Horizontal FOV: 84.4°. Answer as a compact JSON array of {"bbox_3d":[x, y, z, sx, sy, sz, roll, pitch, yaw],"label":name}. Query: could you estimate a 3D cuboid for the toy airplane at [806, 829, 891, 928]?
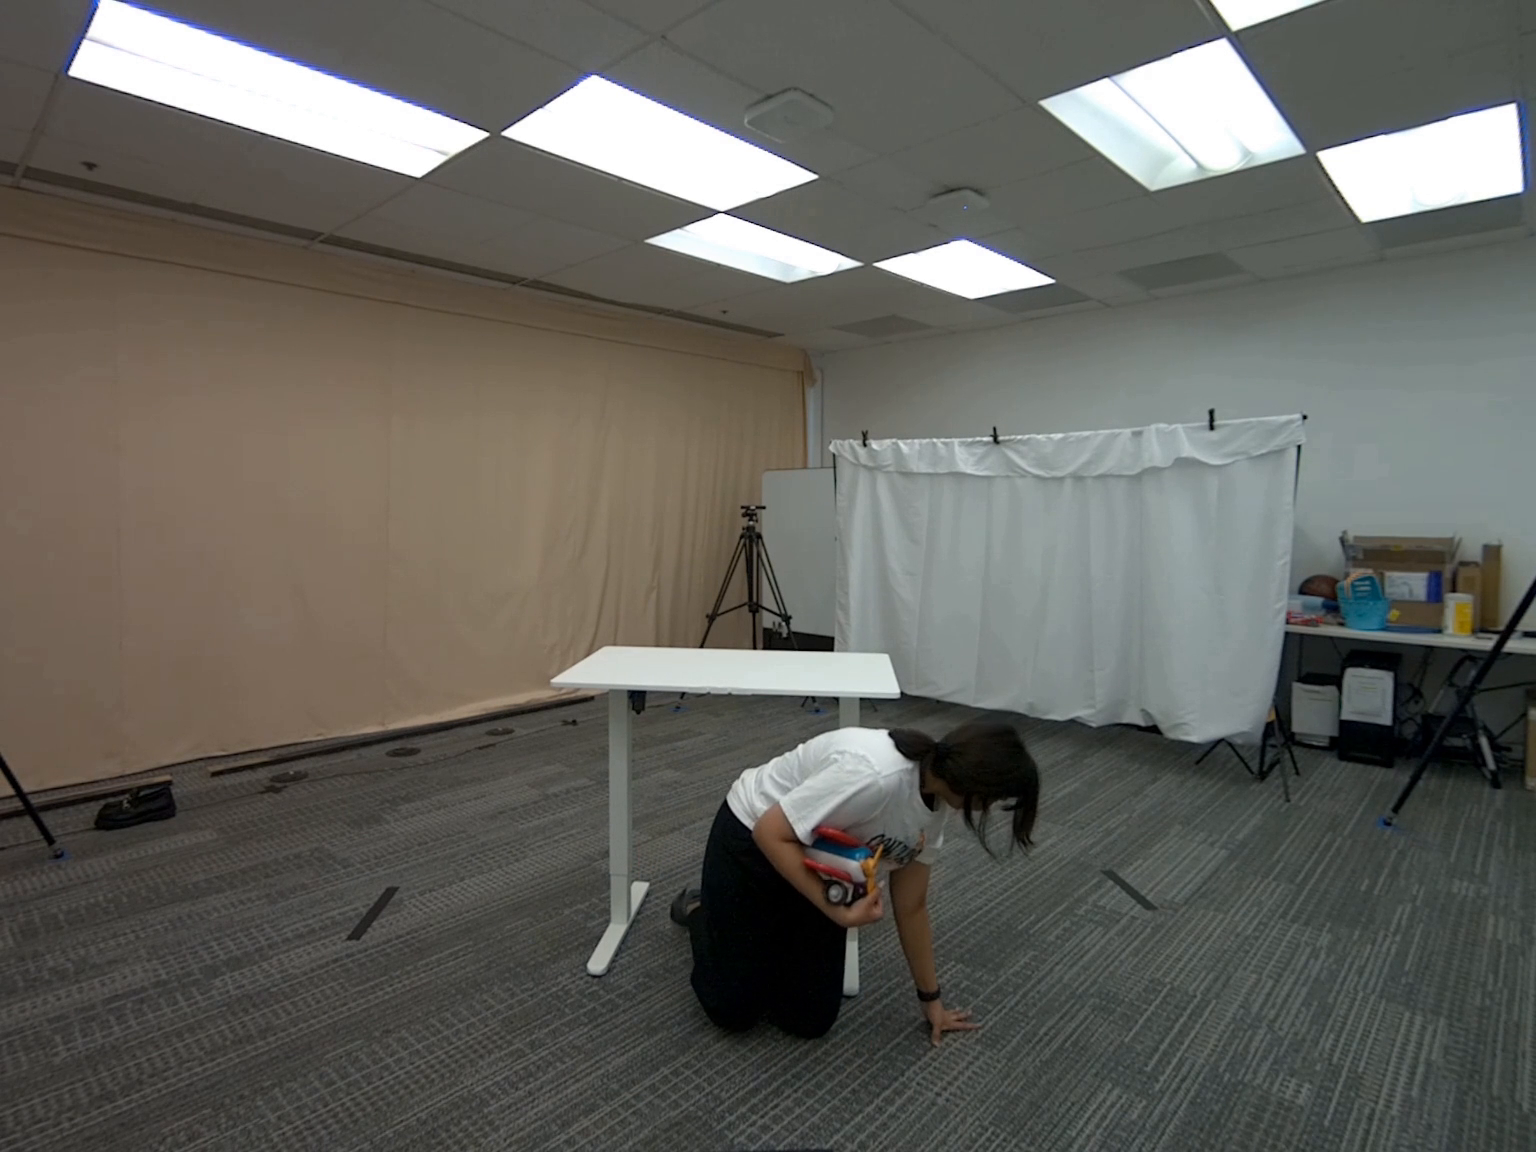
[{"bbox_3d":[0.137,0.669,2.016,0.263,0.156,0.247,31,-12,11],"label":"toy airplane"}]
